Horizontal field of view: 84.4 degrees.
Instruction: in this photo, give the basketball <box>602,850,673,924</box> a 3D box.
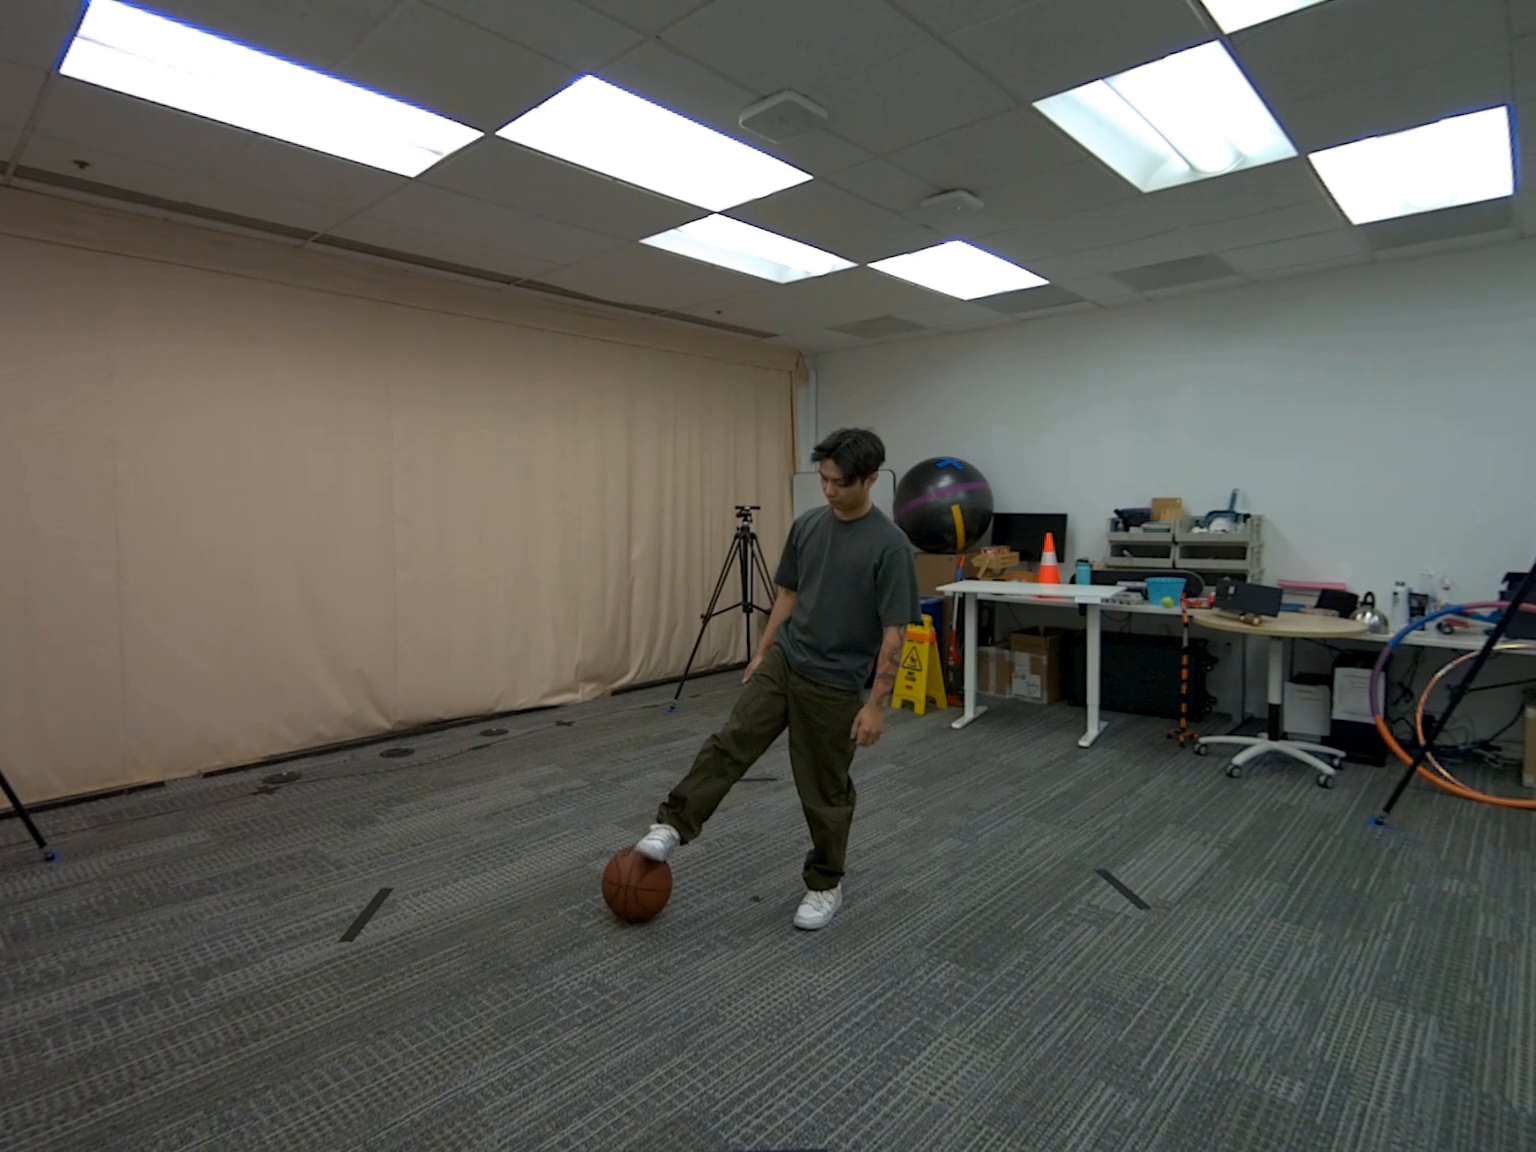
[{"bbox_3d":[-0.441,1.044,2.855,0.236,0.235,0.237,0,4,-2],"label":"basketball"}]
